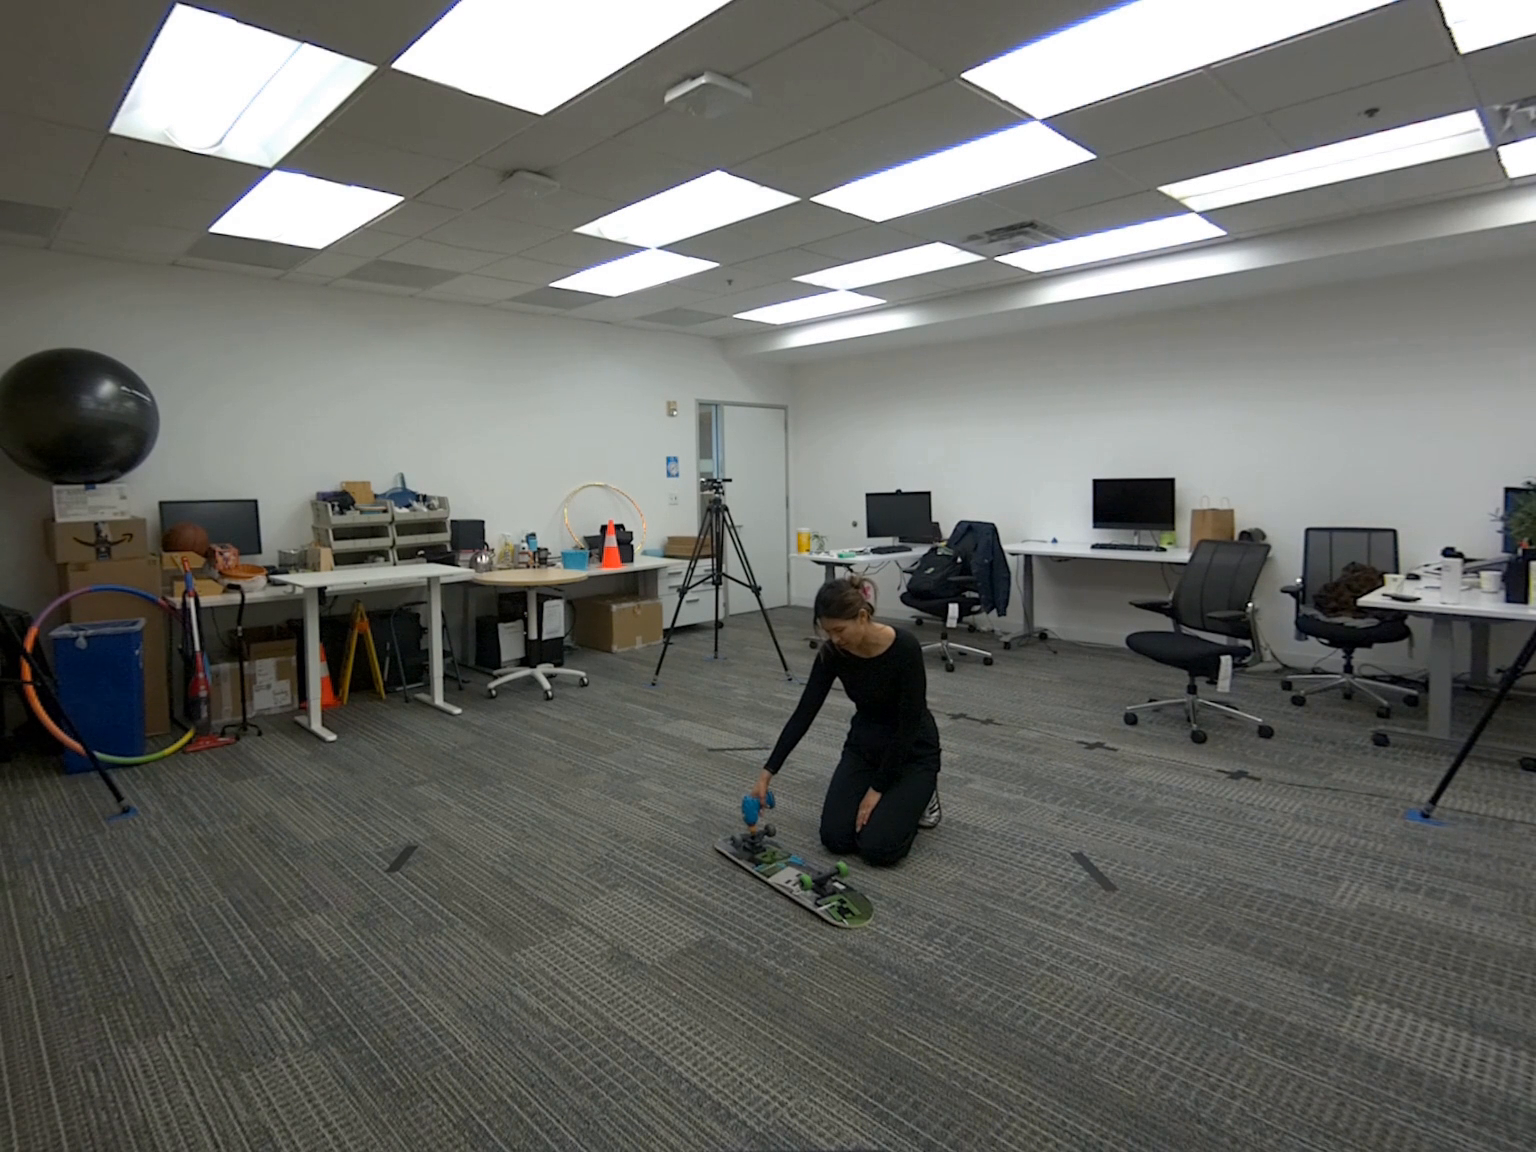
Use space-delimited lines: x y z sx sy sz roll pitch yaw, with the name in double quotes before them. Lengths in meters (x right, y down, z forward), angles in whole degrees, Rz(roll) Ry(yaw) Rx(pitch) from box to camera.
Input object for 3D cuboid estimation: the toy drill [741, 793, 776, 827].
"toy drill" -0.038 0.901 3.217 0.063 0.169 0.142 -7 2 44
